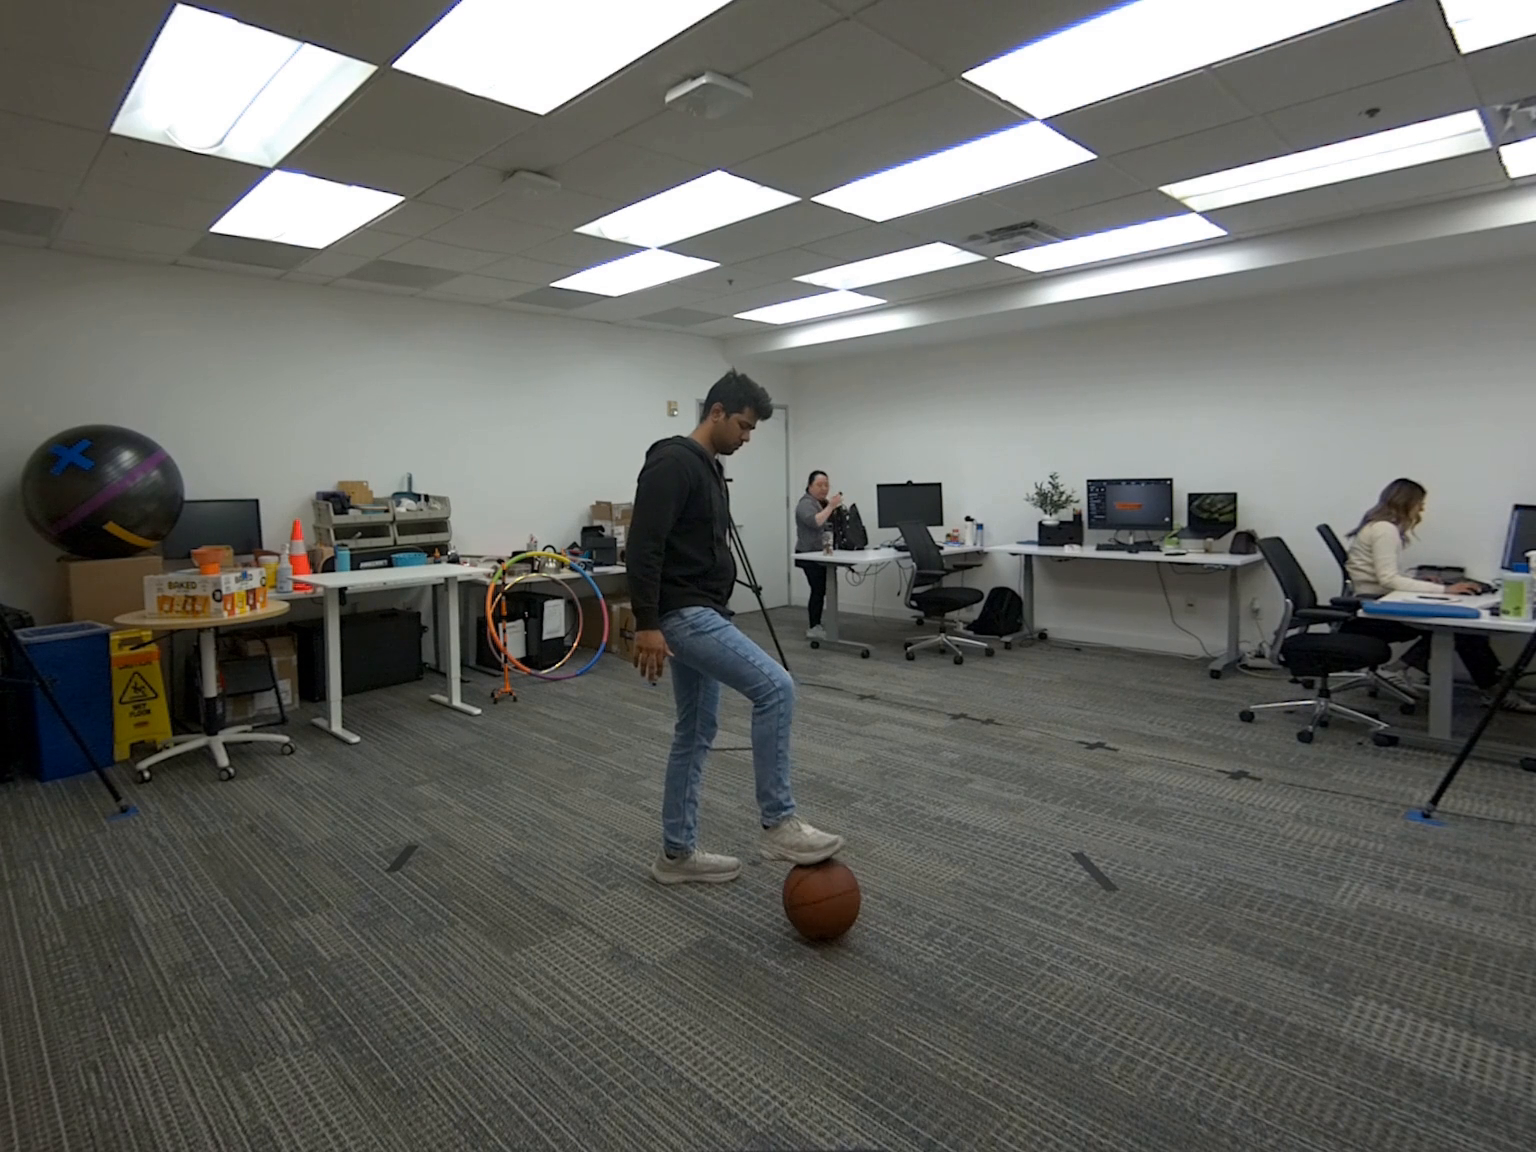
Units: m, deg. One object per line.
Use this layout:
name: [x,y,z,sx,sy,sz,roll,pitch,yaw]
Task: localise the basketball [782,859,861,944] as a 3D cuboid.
basketball: [0.168,0.980,2.607,0.236,0.235,0.237,-1,5,-2]
